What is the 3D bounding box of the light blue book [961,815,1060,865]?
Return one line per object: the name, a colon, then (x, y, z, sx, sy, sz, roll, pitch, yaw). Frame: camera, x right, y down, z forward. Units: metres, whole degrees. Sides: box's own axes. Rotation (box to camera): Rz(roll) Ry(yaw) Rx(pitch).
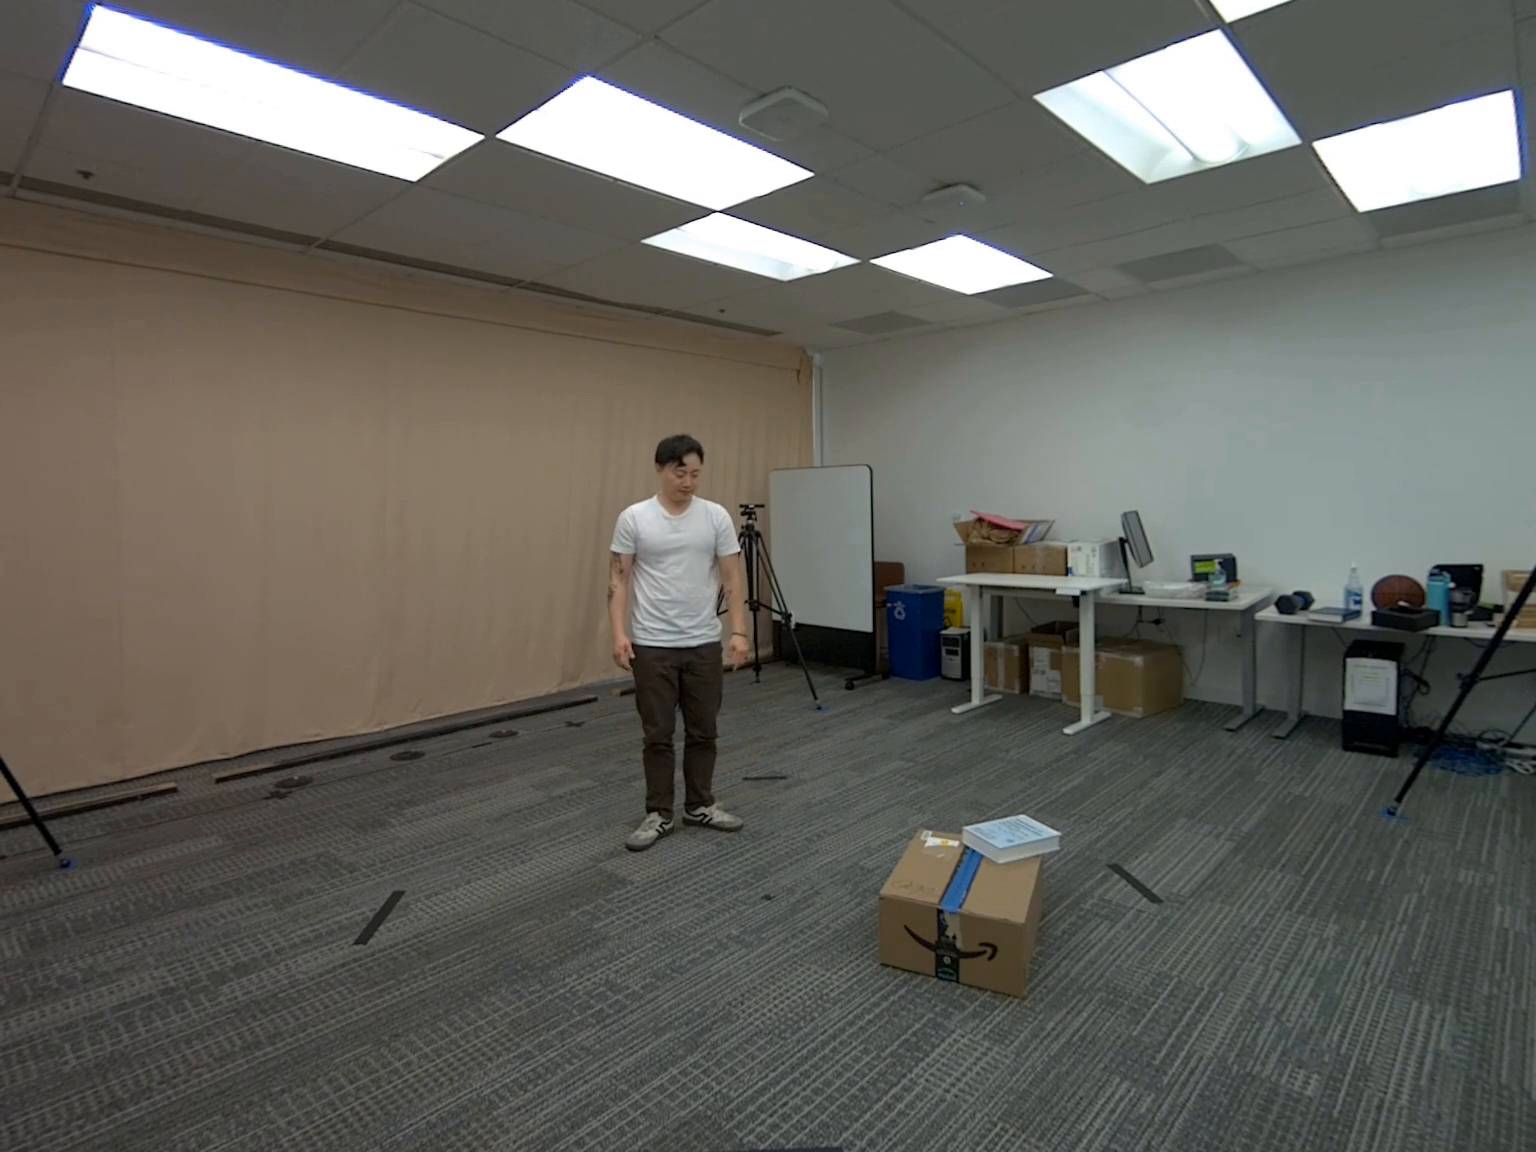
light blue book: (0.828, 0.889, 2.854, 0.255, 0.059, 0.196, -4, 7, -24)
